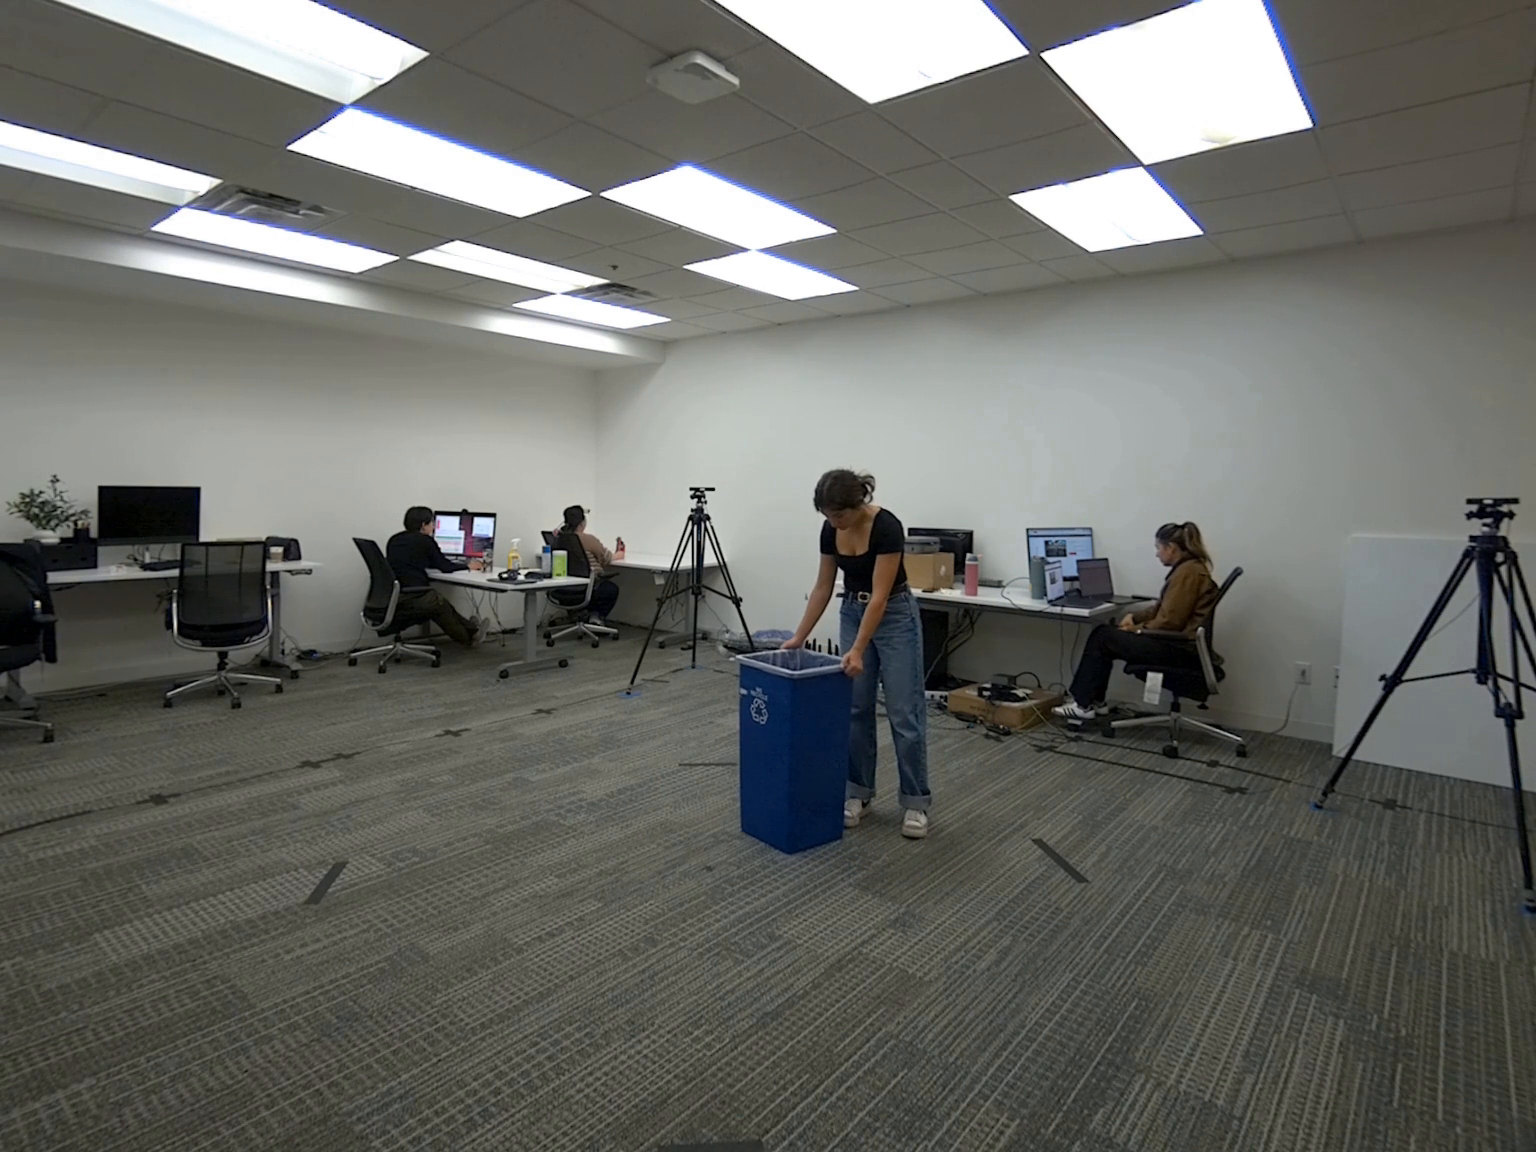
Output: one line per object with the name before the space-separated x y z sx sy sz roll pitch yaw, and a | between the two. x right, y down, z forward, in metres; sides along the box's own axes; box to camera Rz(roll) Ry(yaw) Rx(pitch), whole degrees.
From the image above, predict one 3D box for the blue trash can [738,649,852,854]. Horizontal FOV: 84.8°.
blue trash can | 0.101 0.685 3.421 0.367 0.712 0.386 -1 4 -39
